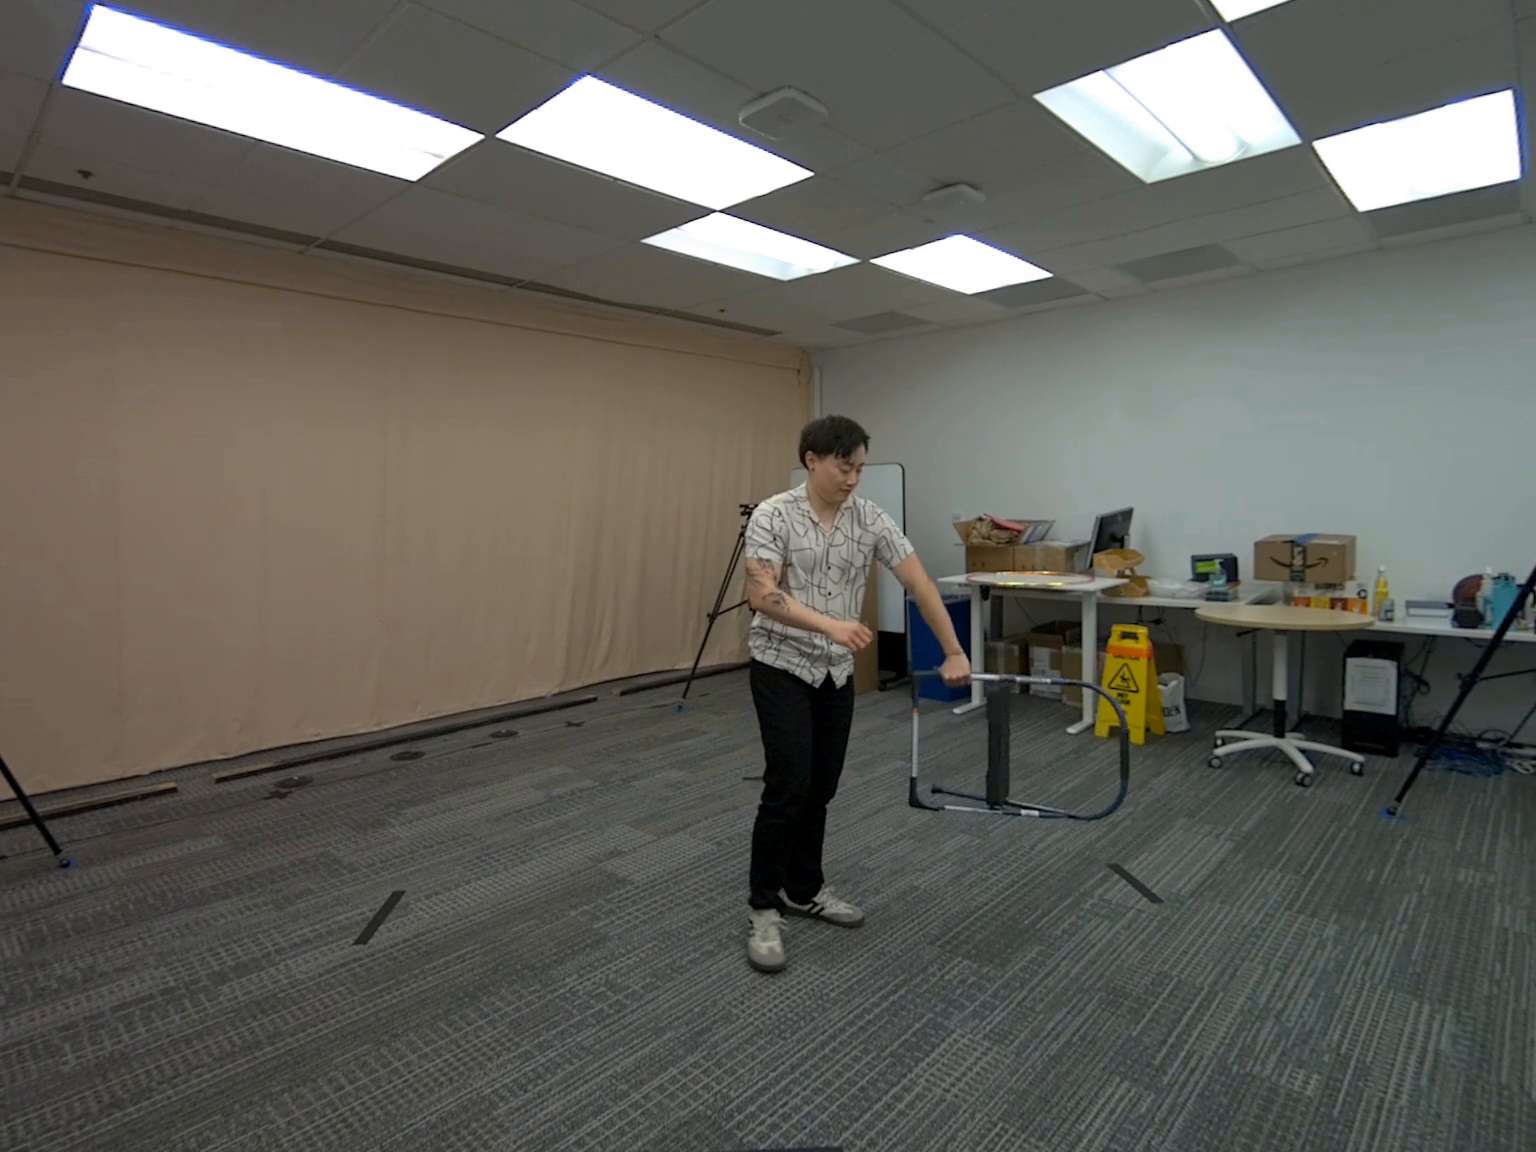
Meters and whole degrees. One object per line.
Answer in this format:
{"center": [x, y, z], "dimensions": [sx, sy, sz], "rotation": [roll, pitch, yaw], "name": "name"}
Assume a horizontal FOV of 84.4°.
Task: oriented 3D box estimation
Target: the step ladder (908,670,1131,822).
{"center": [0.770, 0.515, 2.608], "dimensions": [0.622, 0.432, 0.339], "rotation": [-1, -7, 27], "name": "step ladder"}
